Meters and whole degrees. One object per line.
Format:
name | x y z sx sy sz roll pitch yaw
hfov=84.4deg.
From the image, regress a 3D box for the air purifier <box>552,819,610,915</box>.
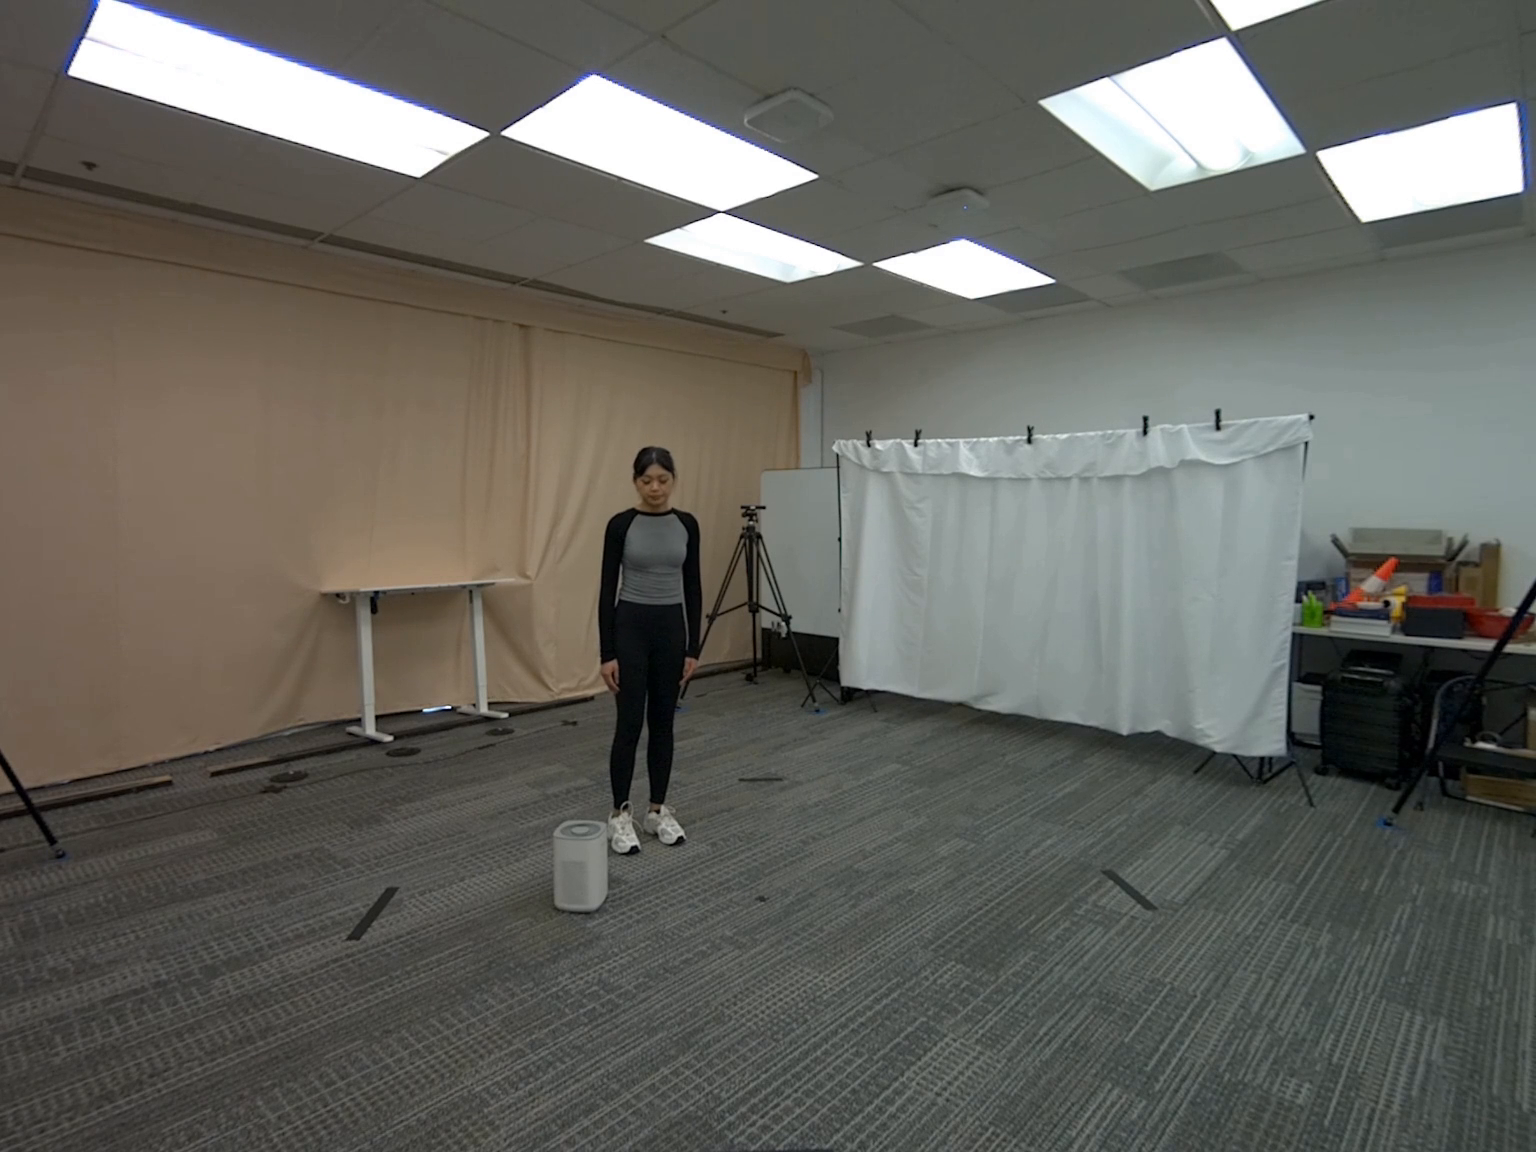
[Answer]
air purifier | -0.655 1.011 2.953 0.173 0.265 0.170 1 3 7
